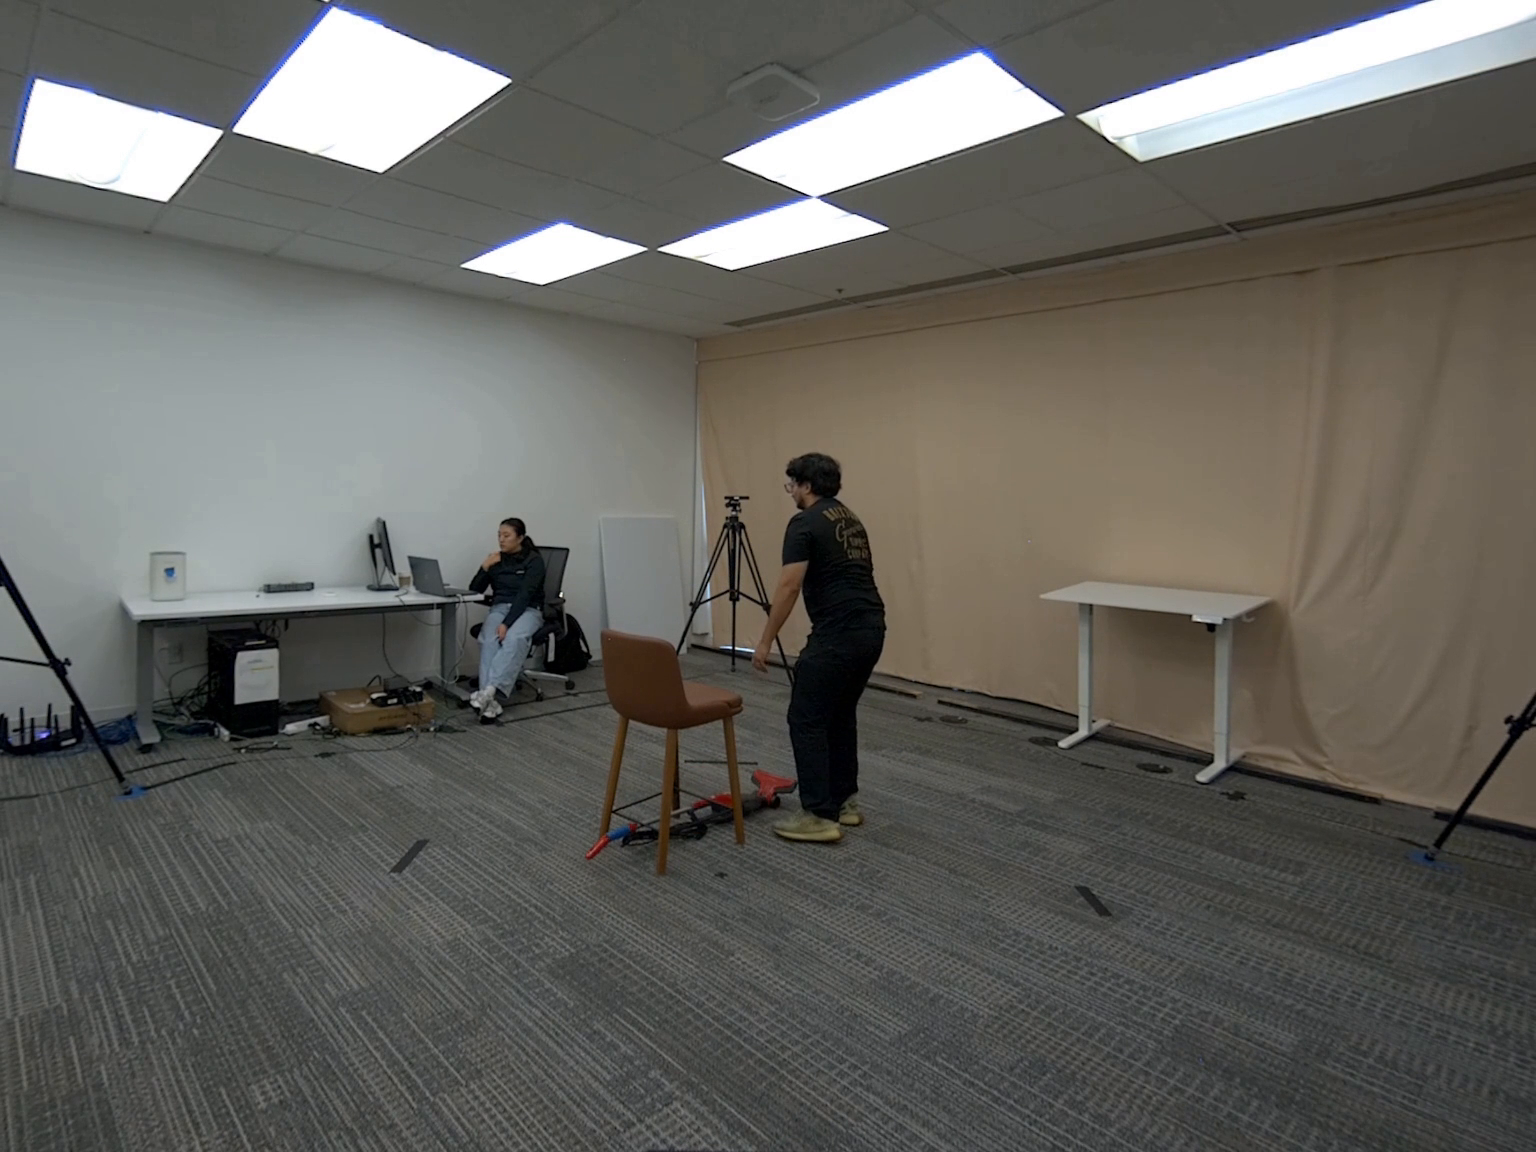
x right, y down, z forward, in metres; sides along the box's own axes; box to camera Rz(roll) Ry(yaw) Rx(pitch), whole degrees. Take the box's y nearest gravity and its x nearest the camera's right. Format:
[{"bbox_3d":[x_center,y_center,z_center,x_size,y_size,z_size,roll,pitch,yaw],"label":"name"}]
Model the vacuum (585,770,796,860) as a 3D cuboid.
[{"bbox_3d":[-0.337,1.013,3.479,0.259,0.143,1.026,6,7,41],"label":"vacuum"}]
